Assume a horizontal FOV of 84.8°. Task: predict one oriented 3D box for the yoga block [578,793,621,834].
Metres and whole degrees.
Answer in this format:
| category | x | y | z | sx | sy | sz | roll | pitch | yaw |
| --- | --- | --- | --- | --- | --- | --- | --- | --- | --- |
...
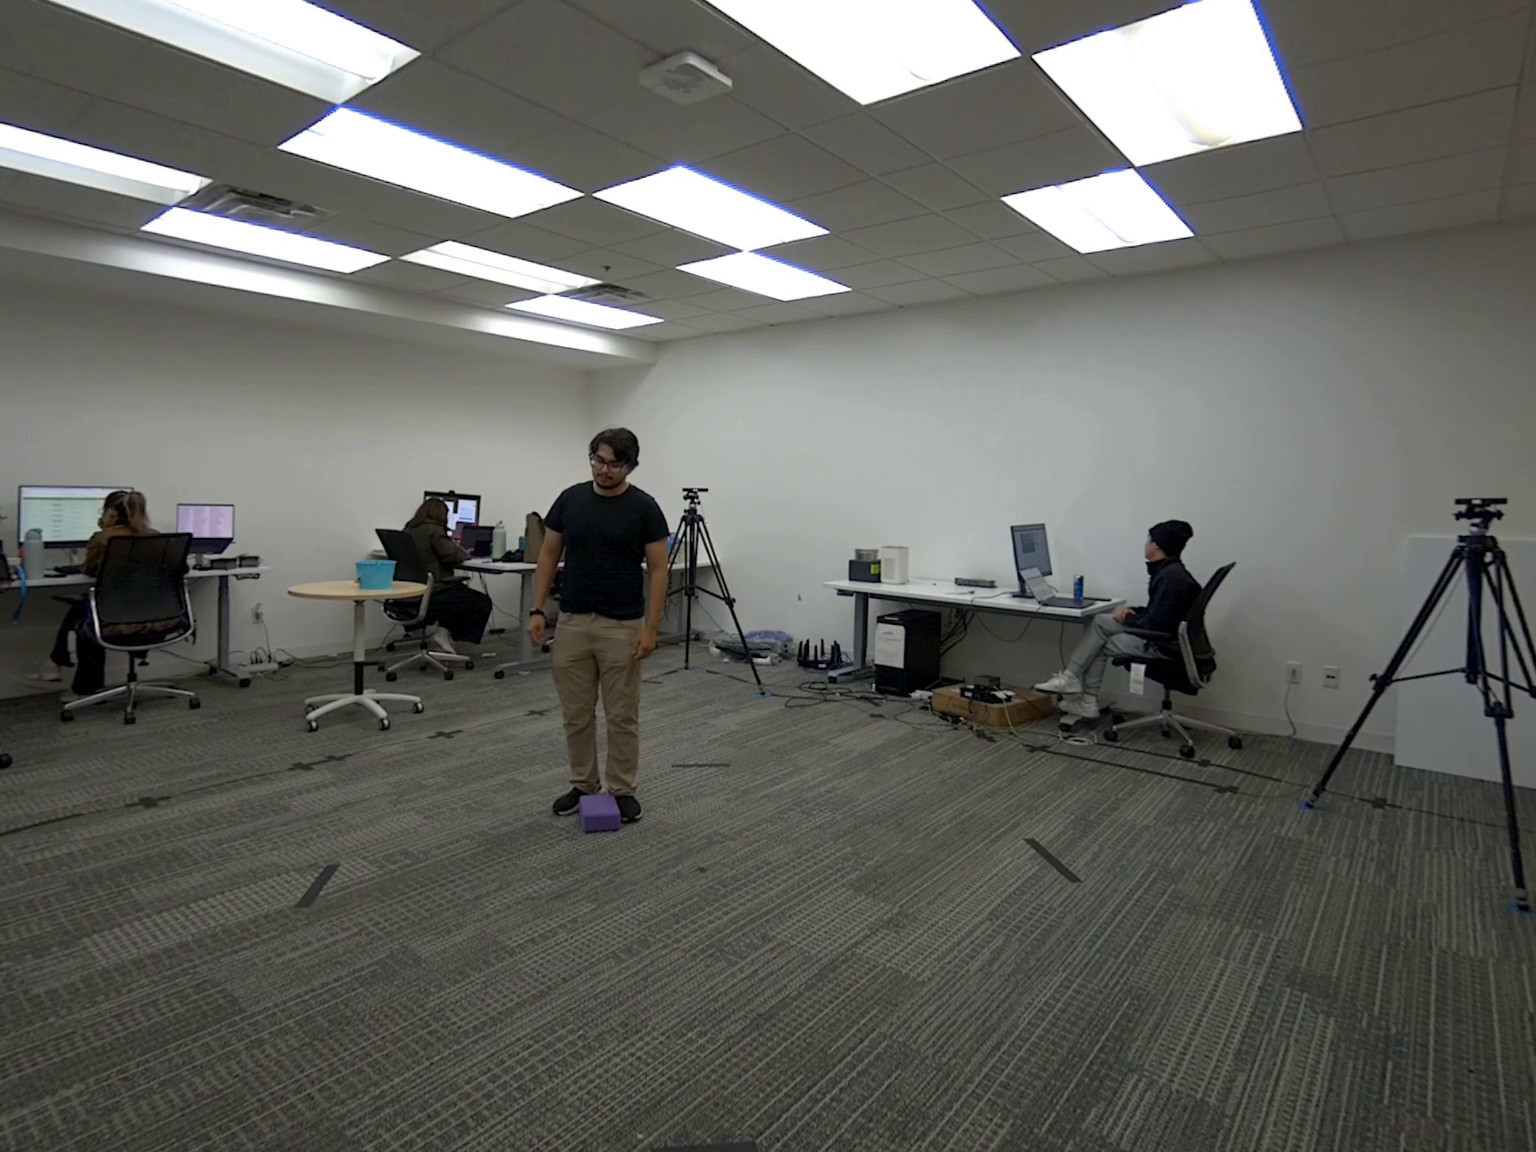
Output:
| category | x | y | z | sx | sy | sz | roll | pitch | yaw |
| --- | --- | --- | --- | --- | --- | --- | --- | --- | --- |
| yoga block | -0.717 | 0.986 | 3.535 | 0.146 | 0.076 | 0.234 | 0 | 5 | -17 |
